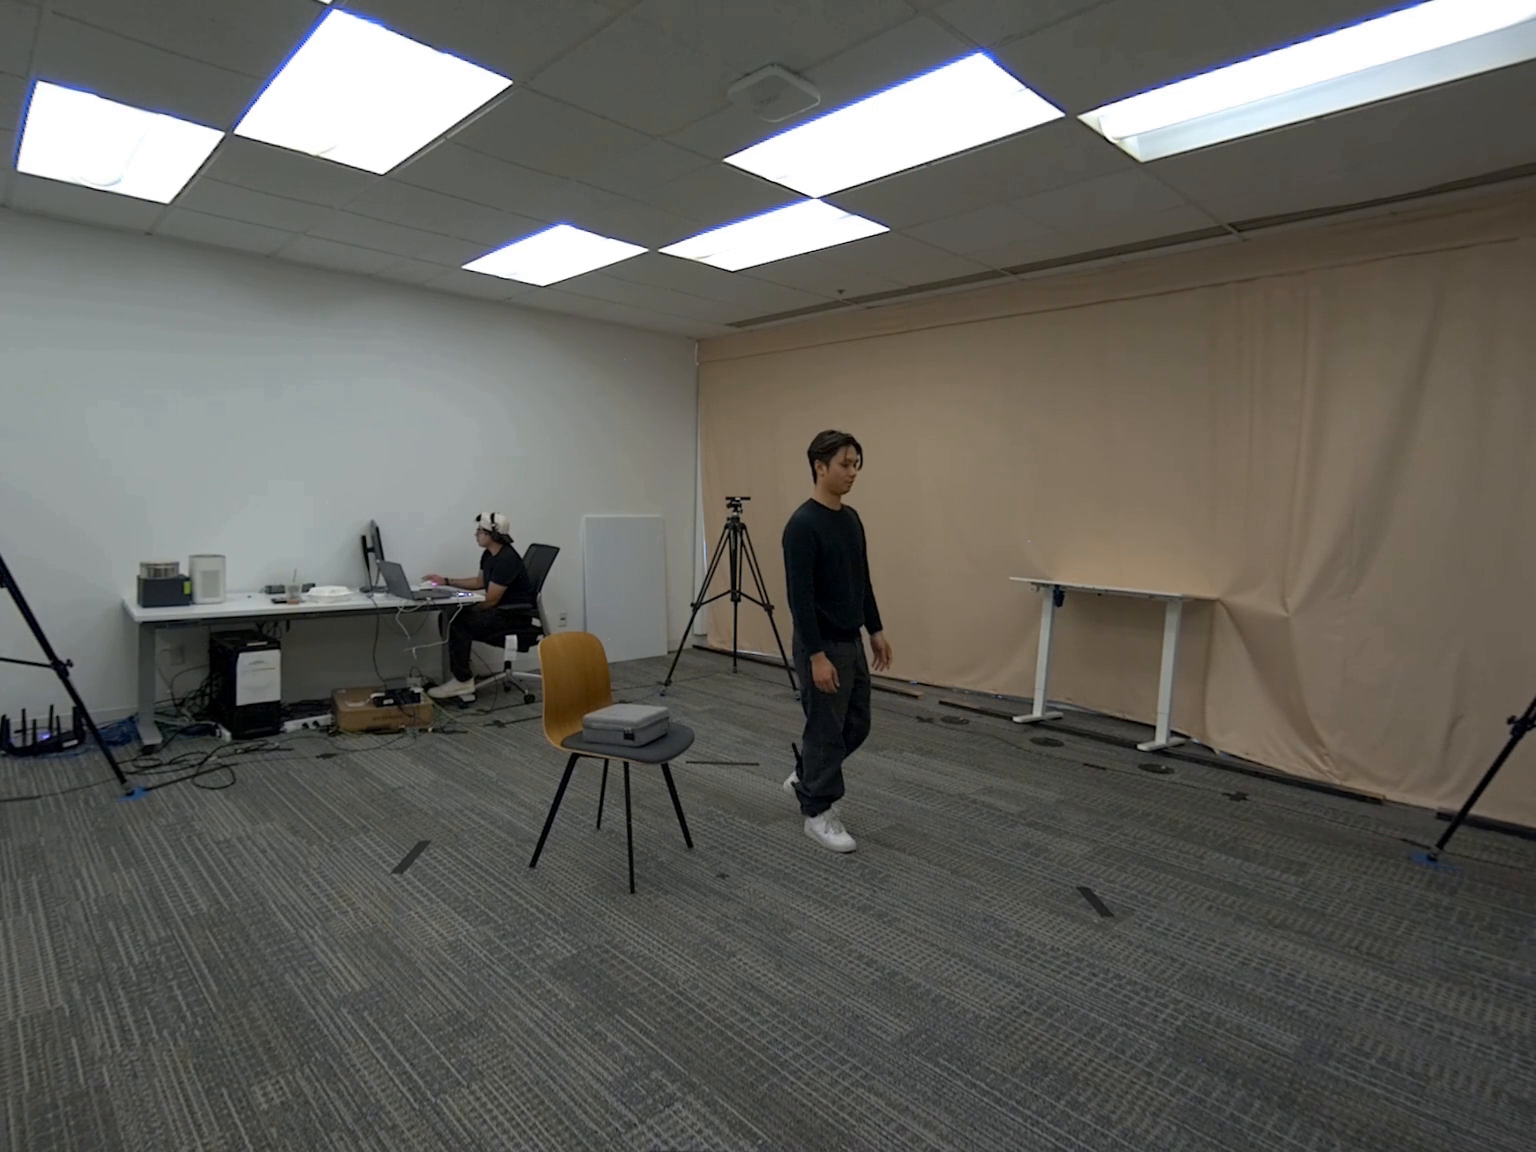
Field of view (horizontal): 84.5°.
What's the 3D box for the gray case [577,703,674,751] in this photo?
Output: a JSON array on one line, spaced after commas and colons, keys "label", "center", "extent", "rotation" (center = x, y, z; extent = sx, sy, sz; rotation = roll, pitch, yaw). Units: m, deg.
[{"label": "gray case", "center": [-0.531, 0.558, 3.162], "extent": [0.261, 0.104, 0.256], "rotation": [-1, 2, 24]}]
